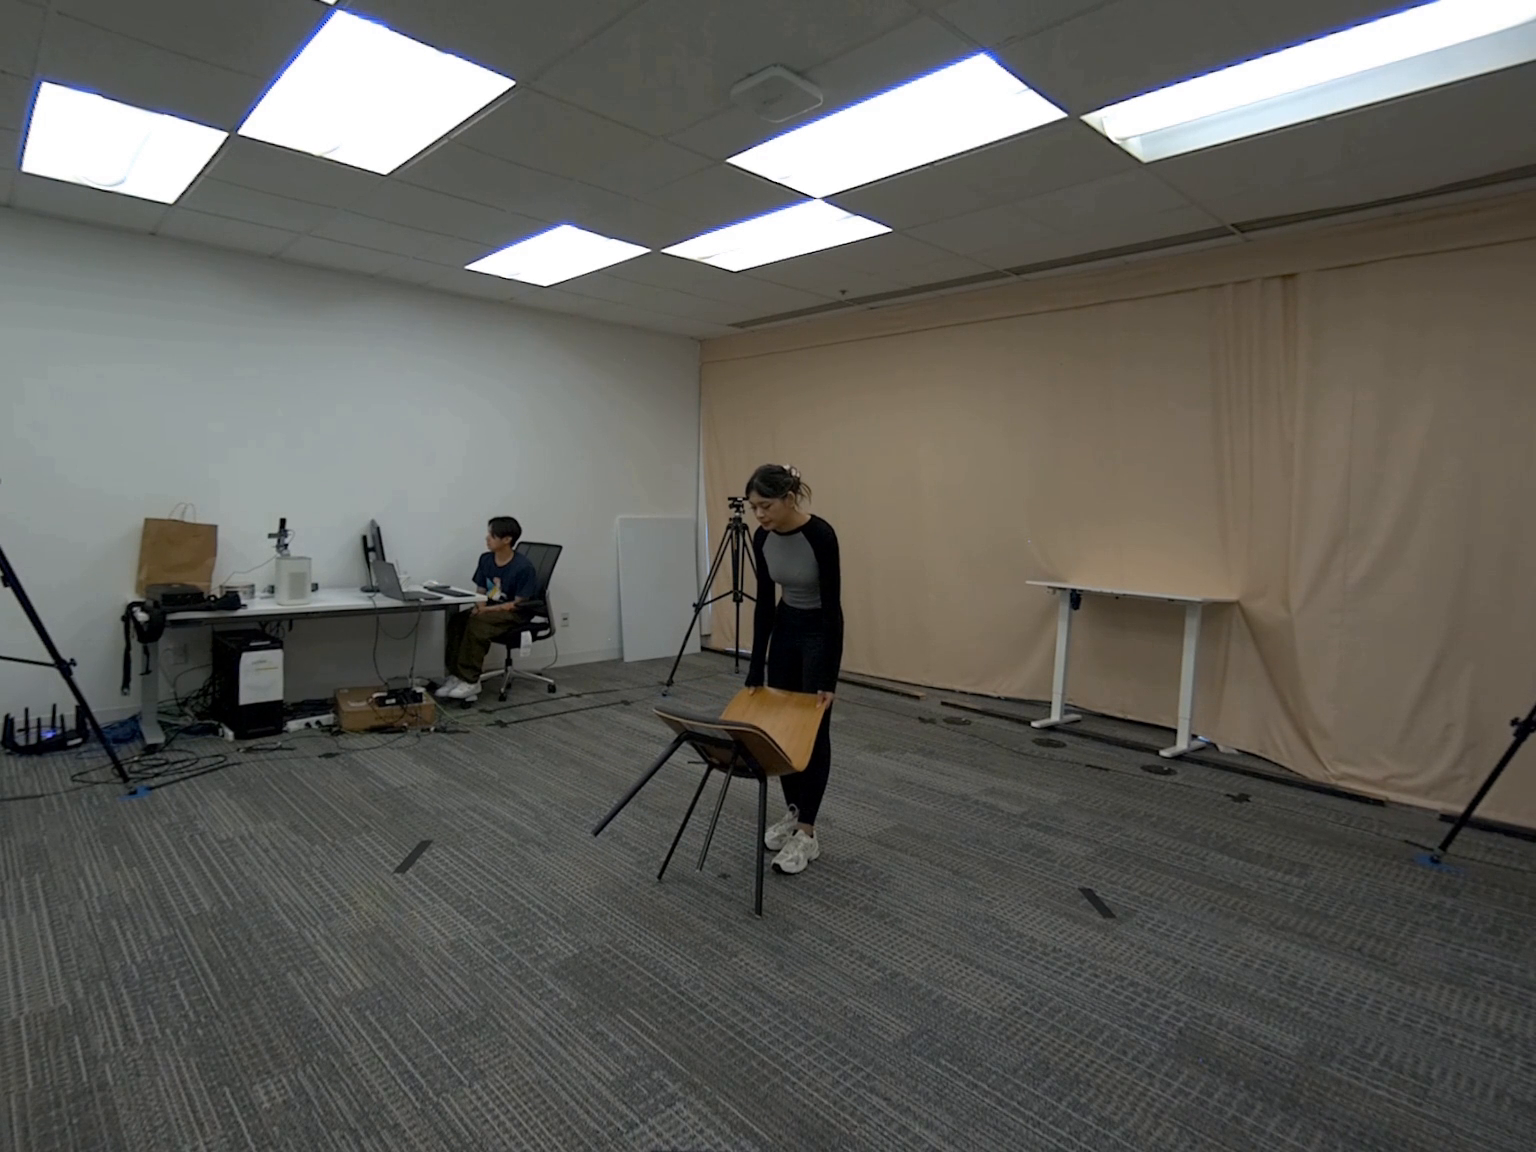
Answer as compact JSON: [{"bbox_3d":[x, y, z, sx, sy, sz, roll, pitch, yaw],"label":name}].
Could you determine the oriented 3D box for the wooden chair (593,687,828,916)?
[{"bbox_3d":[-0.160,0.642,2.966,0.489,0.884,0.507,3,-38,34],"label":"wooden chair"}]
